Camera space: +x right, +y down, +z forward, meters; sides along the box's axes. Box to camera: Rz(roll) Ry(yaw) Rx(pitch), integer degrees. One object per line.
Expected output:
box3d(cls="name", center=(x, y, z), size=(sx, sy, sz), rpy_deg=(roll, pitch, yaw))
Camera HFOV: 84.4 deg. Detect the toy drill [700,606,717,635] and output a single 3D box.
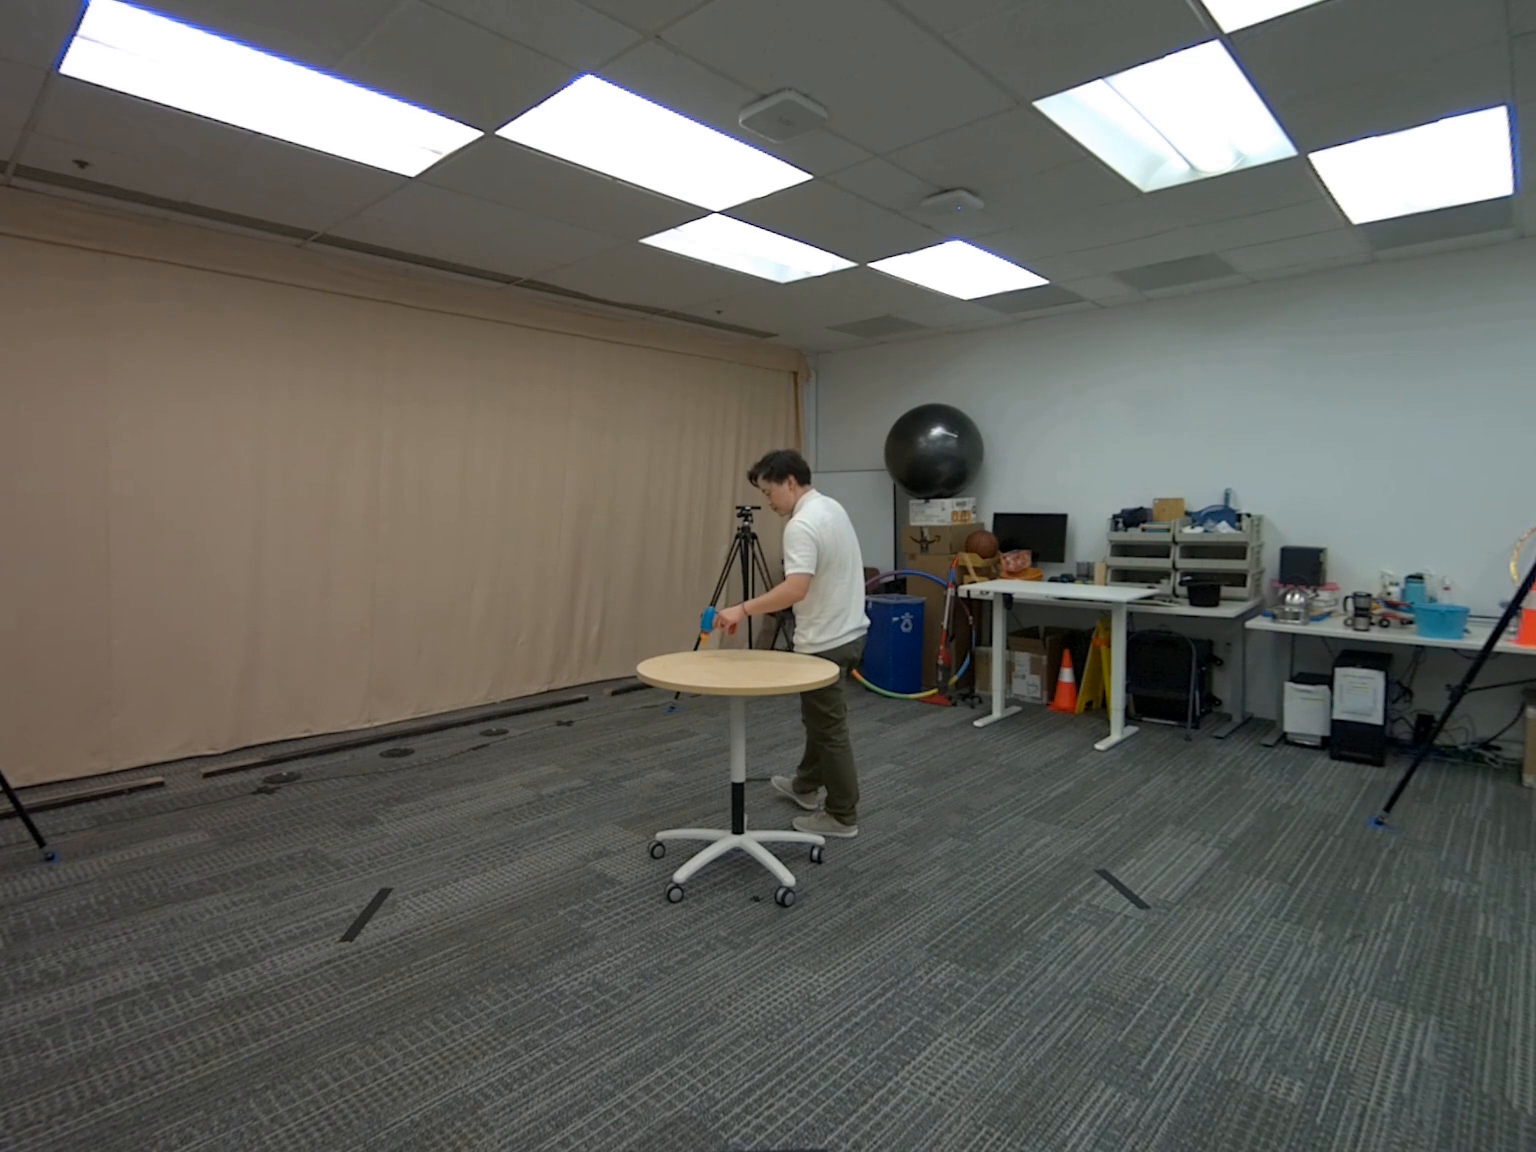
box3d(cls="toy drill", center=(-0.212, 0.217, 3.389), size=(0.149, 0.169, 0.060), rpy_deg=(17, 8, 16))
